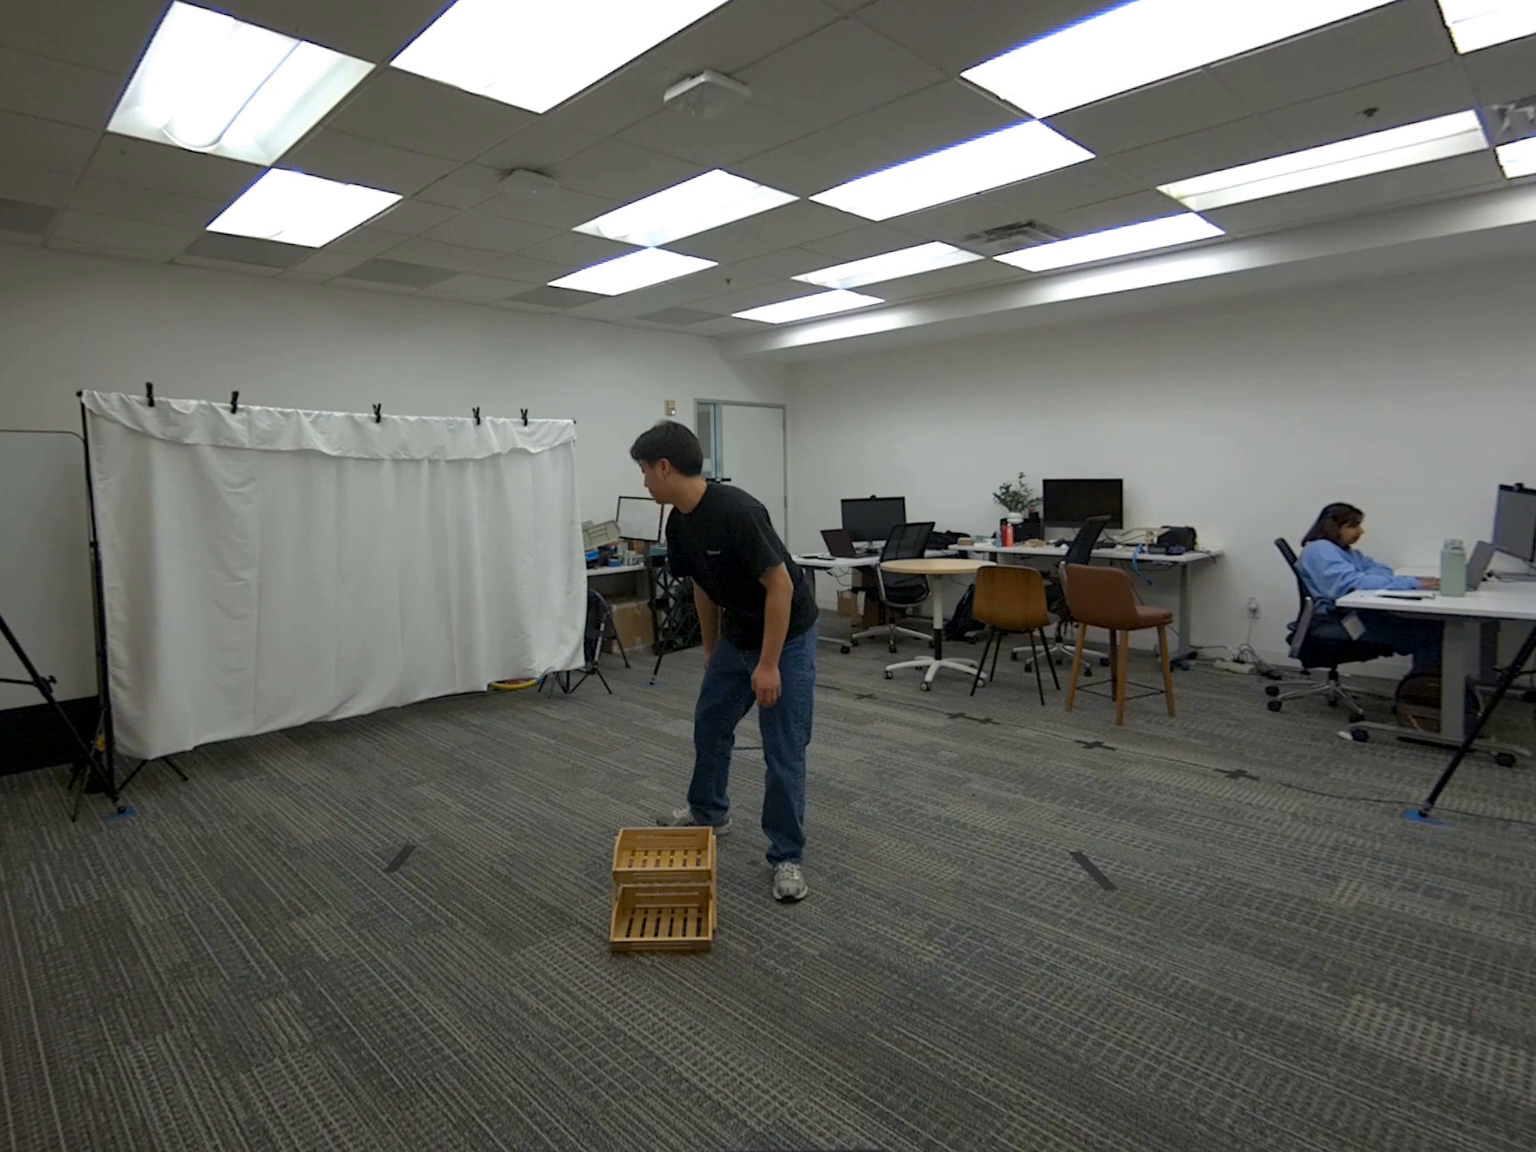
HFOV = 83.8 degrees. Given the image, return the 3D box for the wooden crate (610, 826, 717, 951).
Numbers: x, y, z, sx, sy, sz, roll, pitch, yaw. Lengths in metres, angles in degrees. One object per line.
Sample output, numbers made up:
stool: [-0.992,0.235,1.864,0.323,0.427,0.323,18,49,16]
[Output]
wooden crate: [-0.322,0.970,2.648,0.325,0.272,0.303,-1,7,0]
